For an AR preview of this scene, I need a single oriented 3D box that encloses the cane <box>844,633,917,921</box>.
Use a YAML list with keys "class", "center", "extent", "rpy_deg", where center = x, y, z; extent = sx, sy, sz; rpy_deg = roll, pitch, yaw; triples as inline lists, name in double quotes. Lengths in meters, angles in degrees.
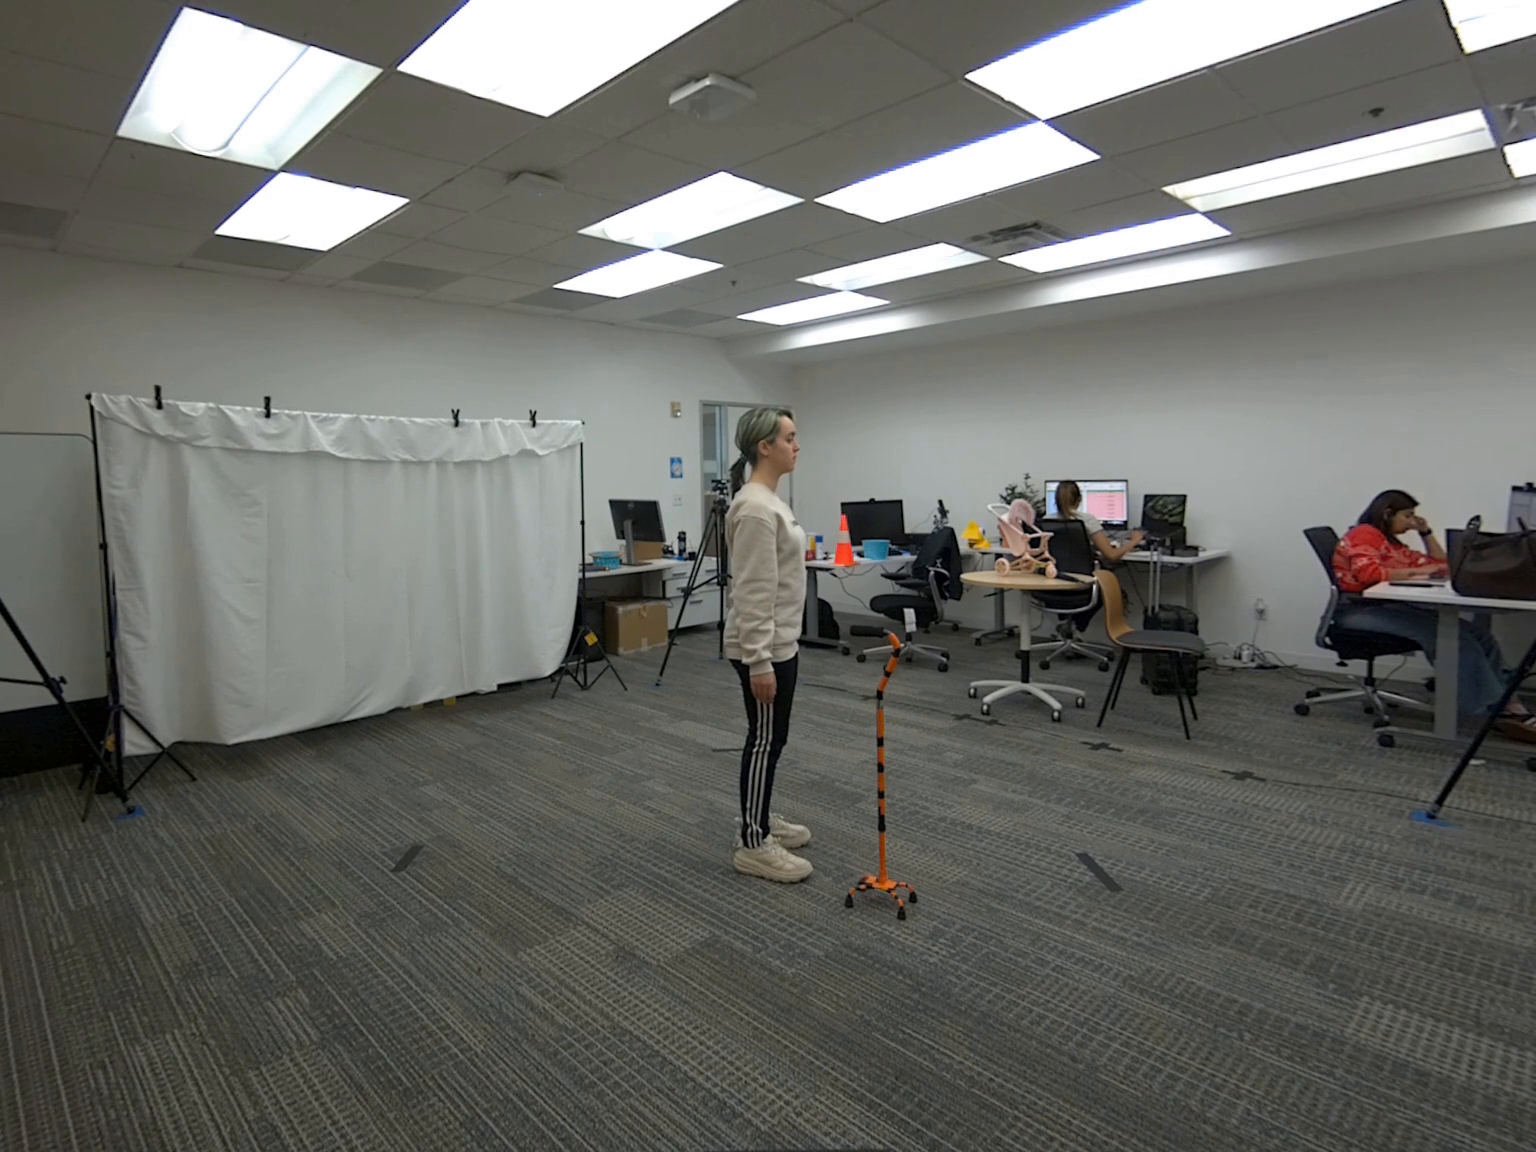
- class: "cane"
  center: [0.372, 0.623, 2.773]
  extent: [0.211, 0.905, 0.148]
  rpy_deg: [2, 4, 27]
